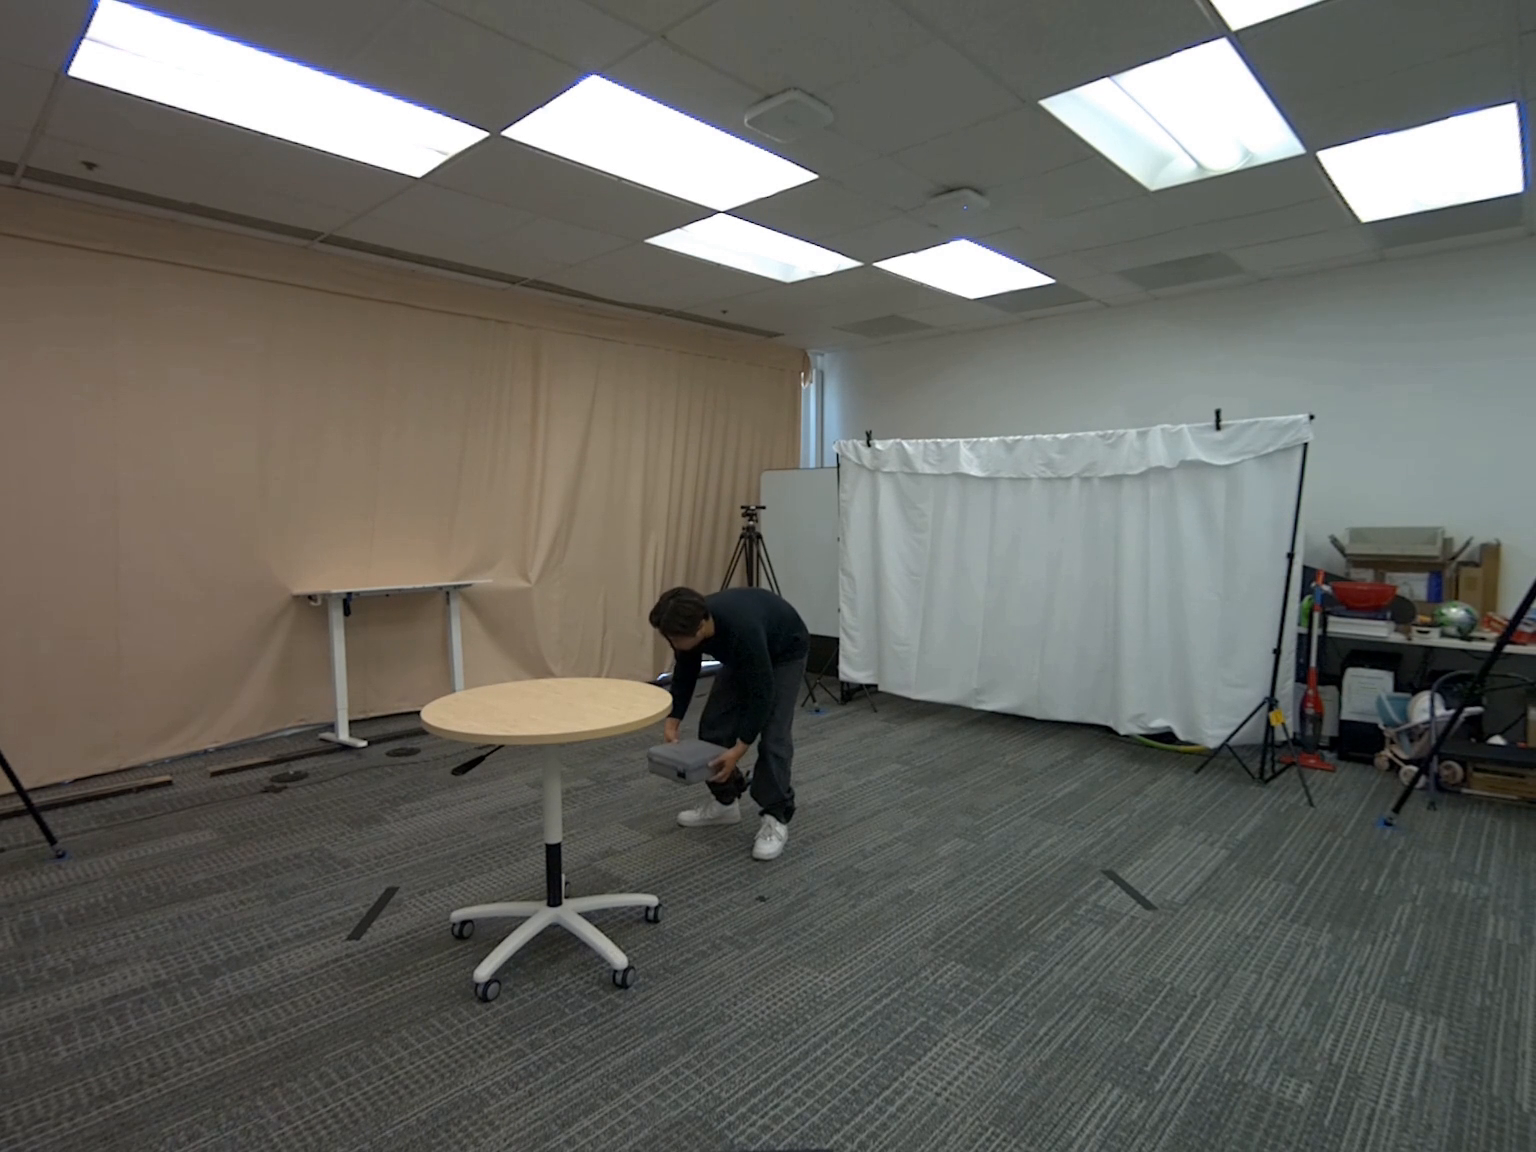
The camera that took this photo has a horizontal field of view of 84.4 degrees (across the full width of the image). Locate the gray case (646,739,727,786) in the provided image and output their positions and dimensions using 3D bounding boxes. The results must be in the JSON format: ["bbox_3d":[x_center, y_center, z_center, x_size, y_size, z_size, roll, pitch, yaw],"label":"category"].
[{"bbox_3d":[-0.317,0.737,3.385,0.265,0.104,0.252,4,5,41],"label":"gray case"}]
